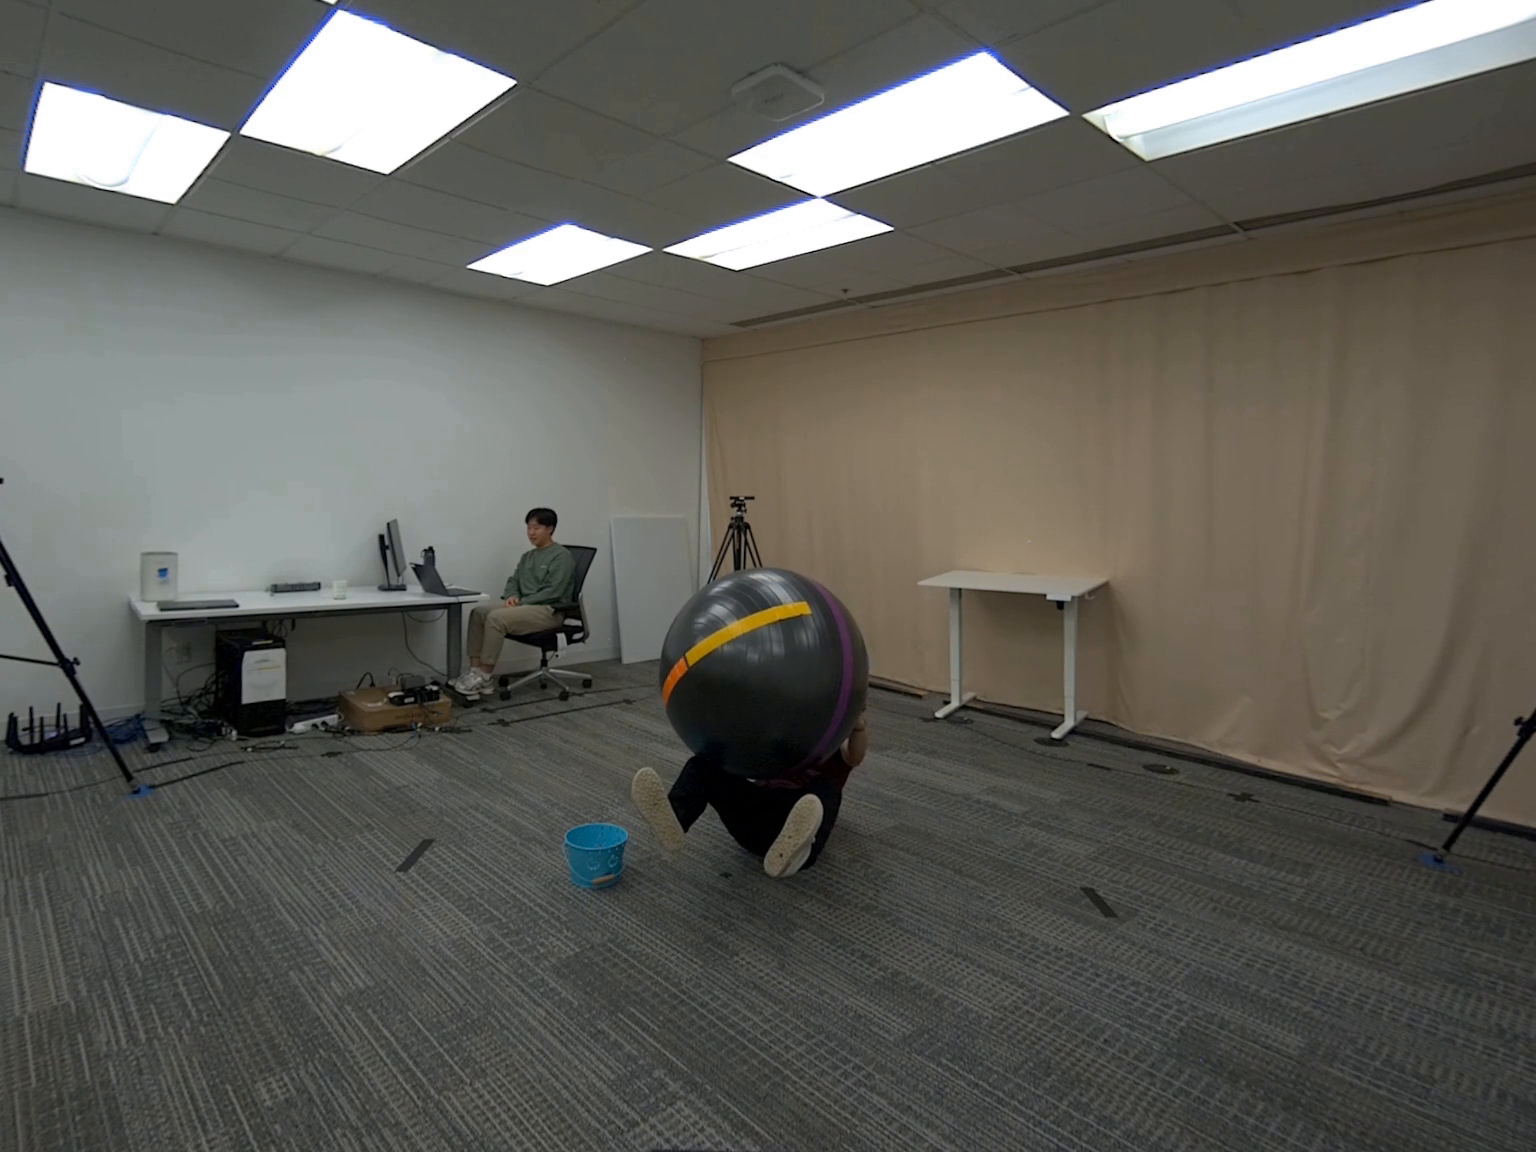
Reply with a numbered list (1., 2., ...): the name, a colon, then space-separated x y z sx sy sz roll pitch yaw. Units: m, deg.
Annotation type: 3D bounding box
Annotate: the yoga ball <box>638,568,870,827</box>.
1. yoga ball: -0.019 0.353 3.060 0.757 0.756 0.761 1 4 -1
